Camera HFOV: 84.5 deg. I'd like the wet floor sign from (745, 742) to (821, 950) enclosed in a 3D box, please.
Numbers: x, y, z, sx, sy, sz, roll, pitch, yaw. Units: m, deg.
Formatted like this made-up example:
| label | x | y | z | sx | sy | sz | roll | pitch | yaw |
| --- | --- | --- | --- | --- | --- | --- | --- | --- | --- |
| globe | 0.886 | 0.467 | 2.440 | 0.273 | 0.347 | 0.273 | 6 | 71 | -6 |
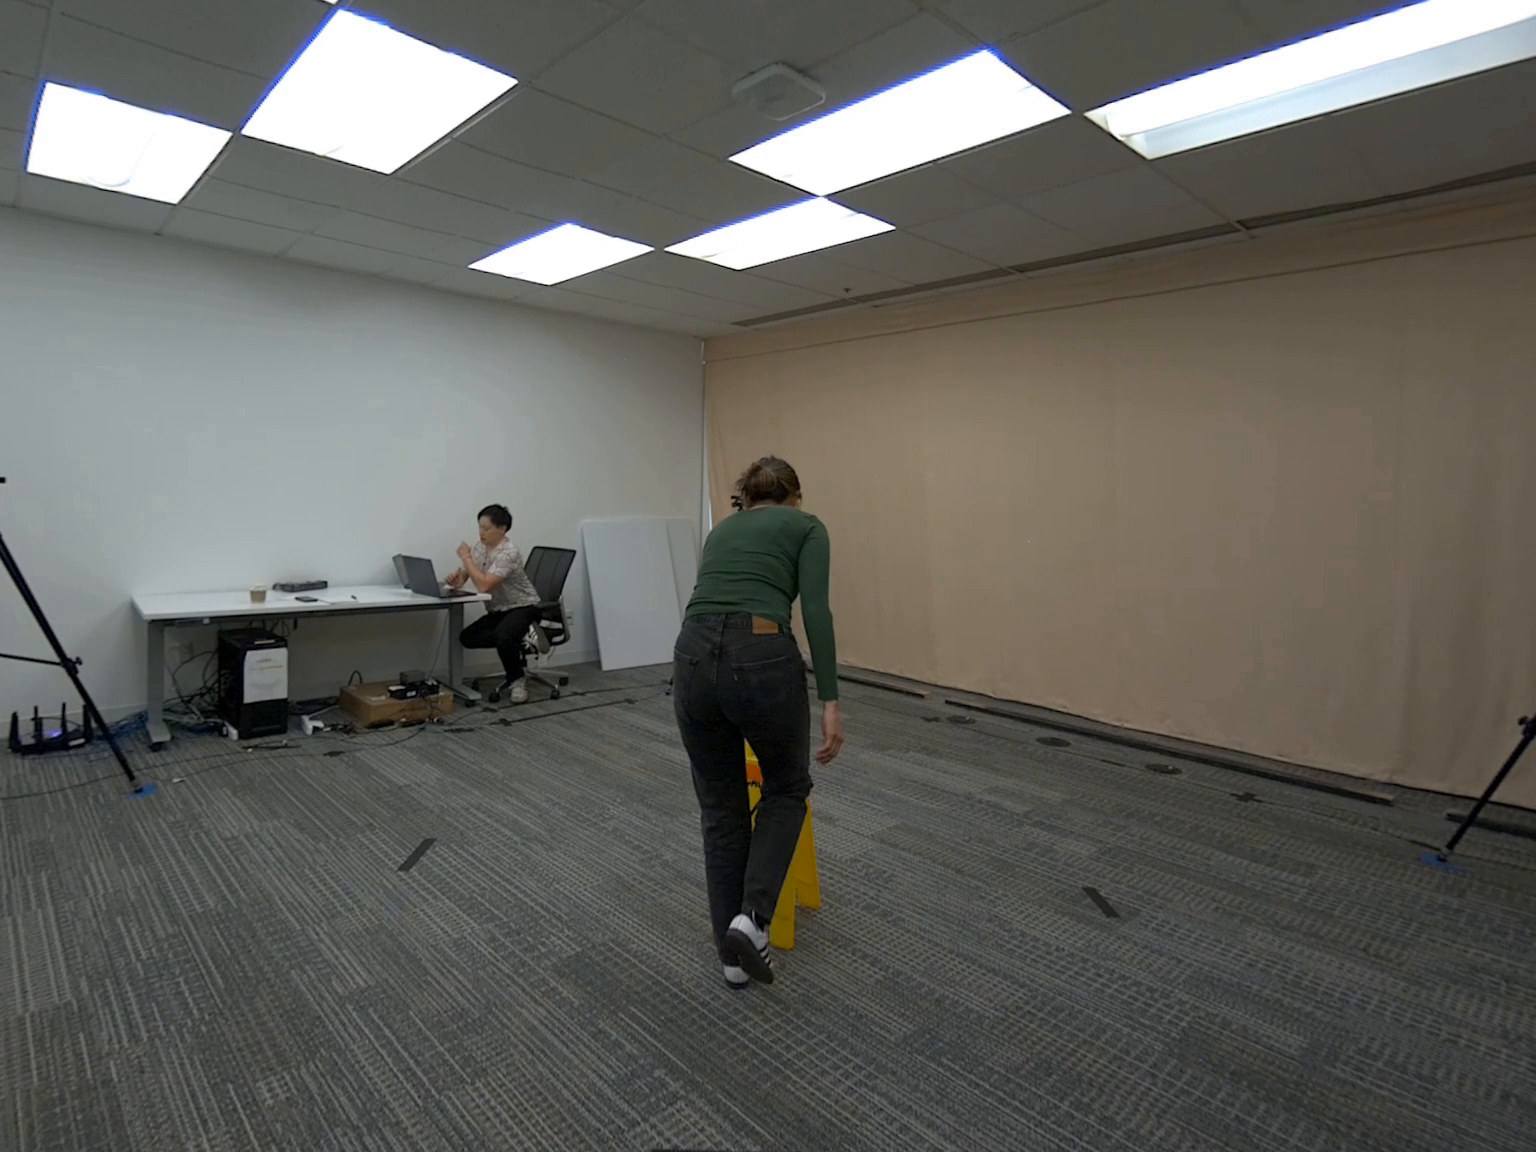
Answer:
| label | x | y | z | sx | sy | sz | roll | pitch | yaw |
| --- | --- | --- | --- | --- | --- | --- | --- | --- | --- |
| wet floor sign | 0.003 | 0.816 | 2.763 | 0.287 | 0.644 | 0.285 | 3 | 4 | 22 |
